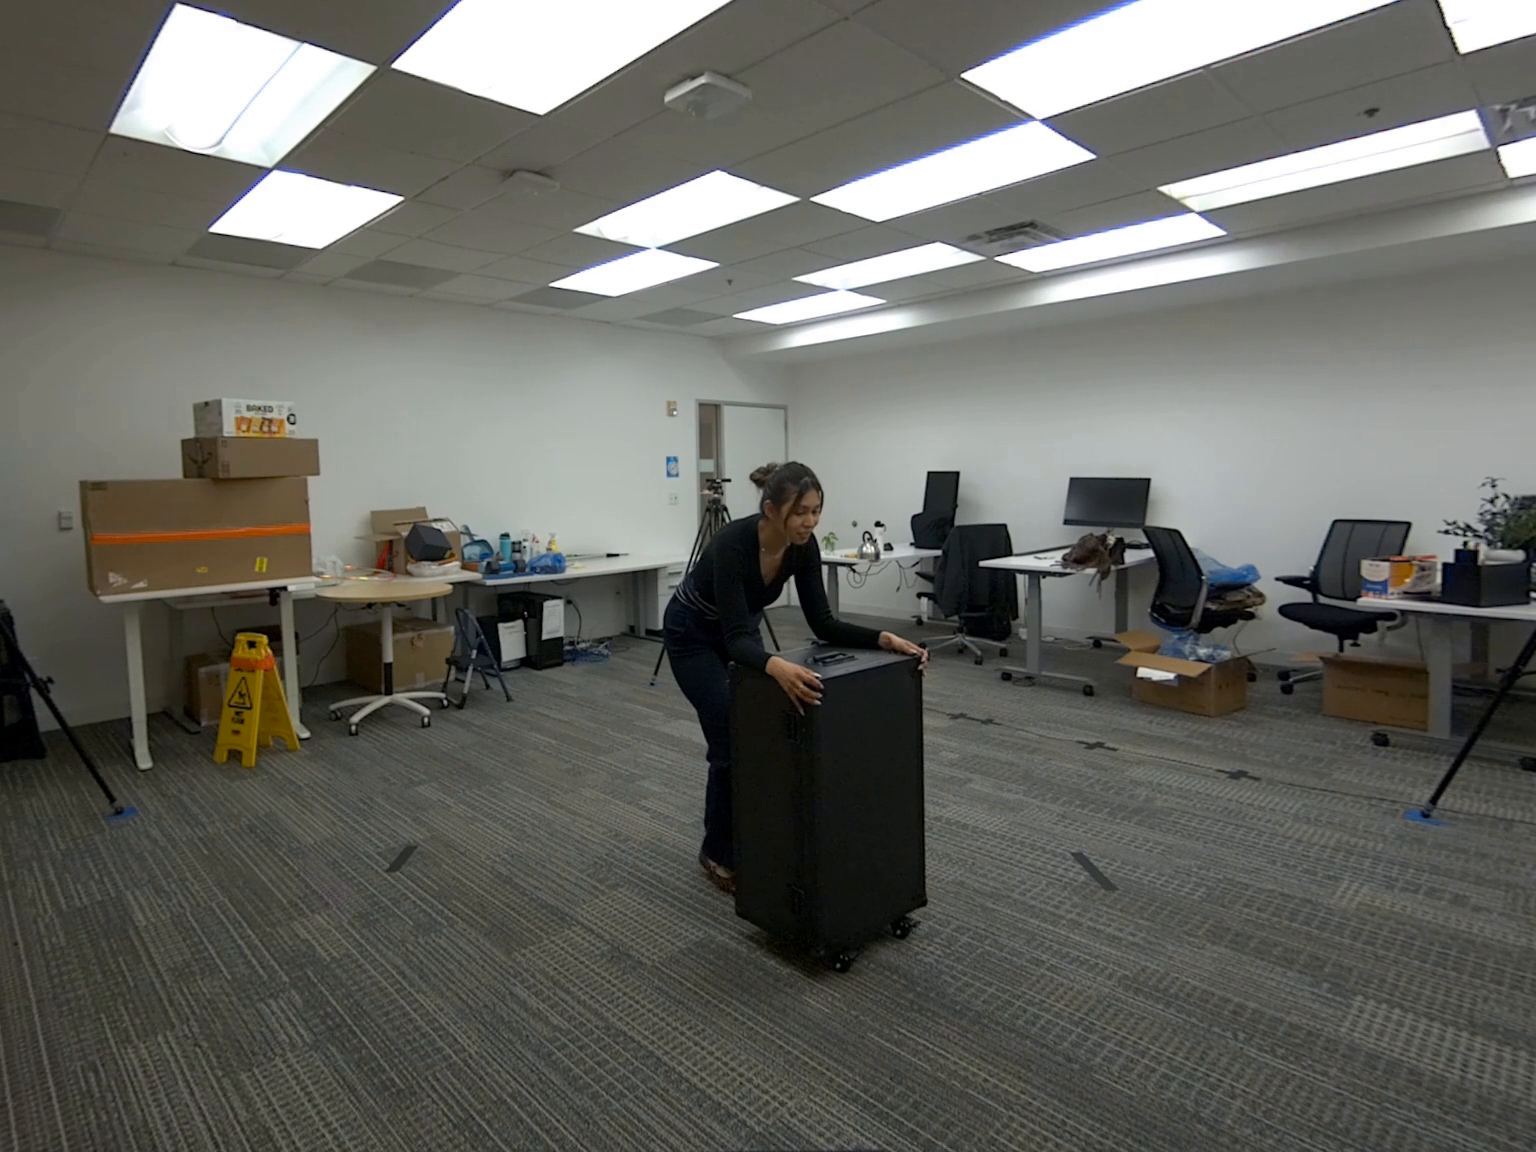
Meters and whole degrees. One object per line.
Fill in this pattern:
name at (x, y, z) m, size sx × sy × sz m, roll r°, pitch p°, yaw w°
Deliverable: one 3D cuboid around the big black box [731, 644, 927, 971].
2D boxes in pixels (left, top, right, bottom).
big black box at (0.181, 0.674, 2.603) m, size 0.508 × 0.859 × 0.408 m, roll -5°, pitch 4°, yaw -40°
